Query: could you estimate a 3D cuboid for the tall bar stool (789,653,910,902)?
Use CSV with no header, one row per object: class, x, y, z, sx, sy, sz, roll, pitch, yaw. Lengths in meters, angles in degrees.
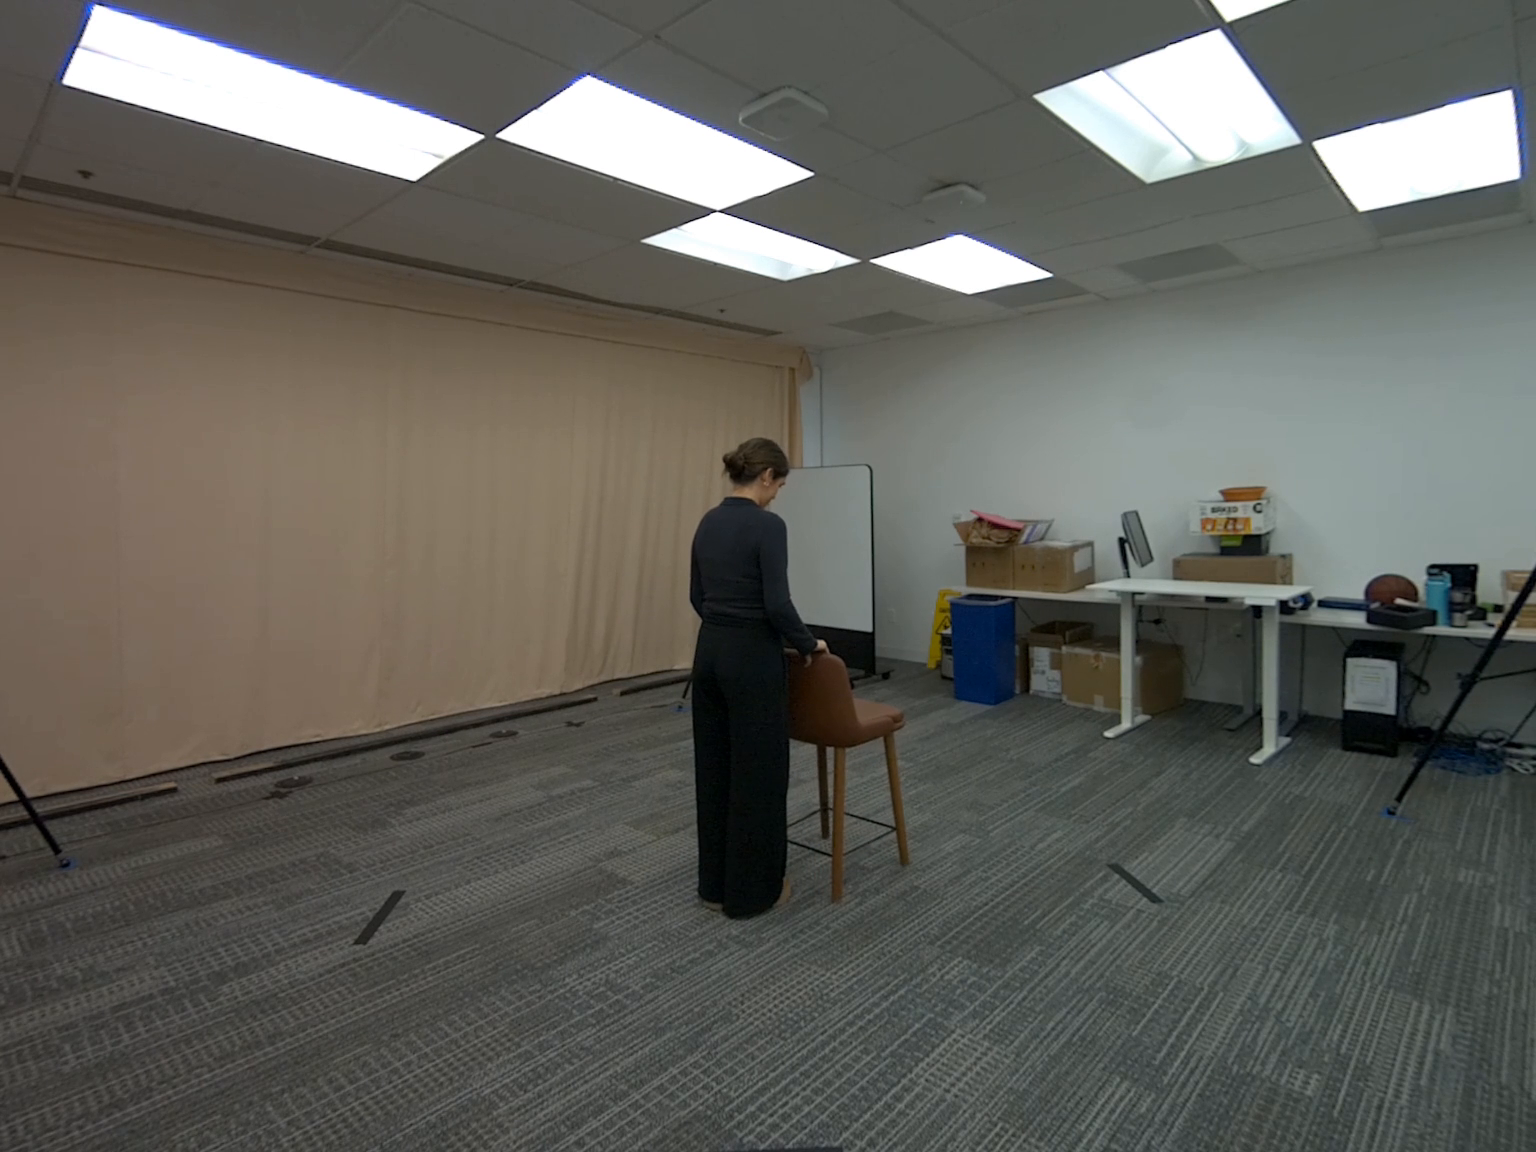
tall bar stool,0.233,0.678,3.187,0.471,0.887,0.454,2,6,43
